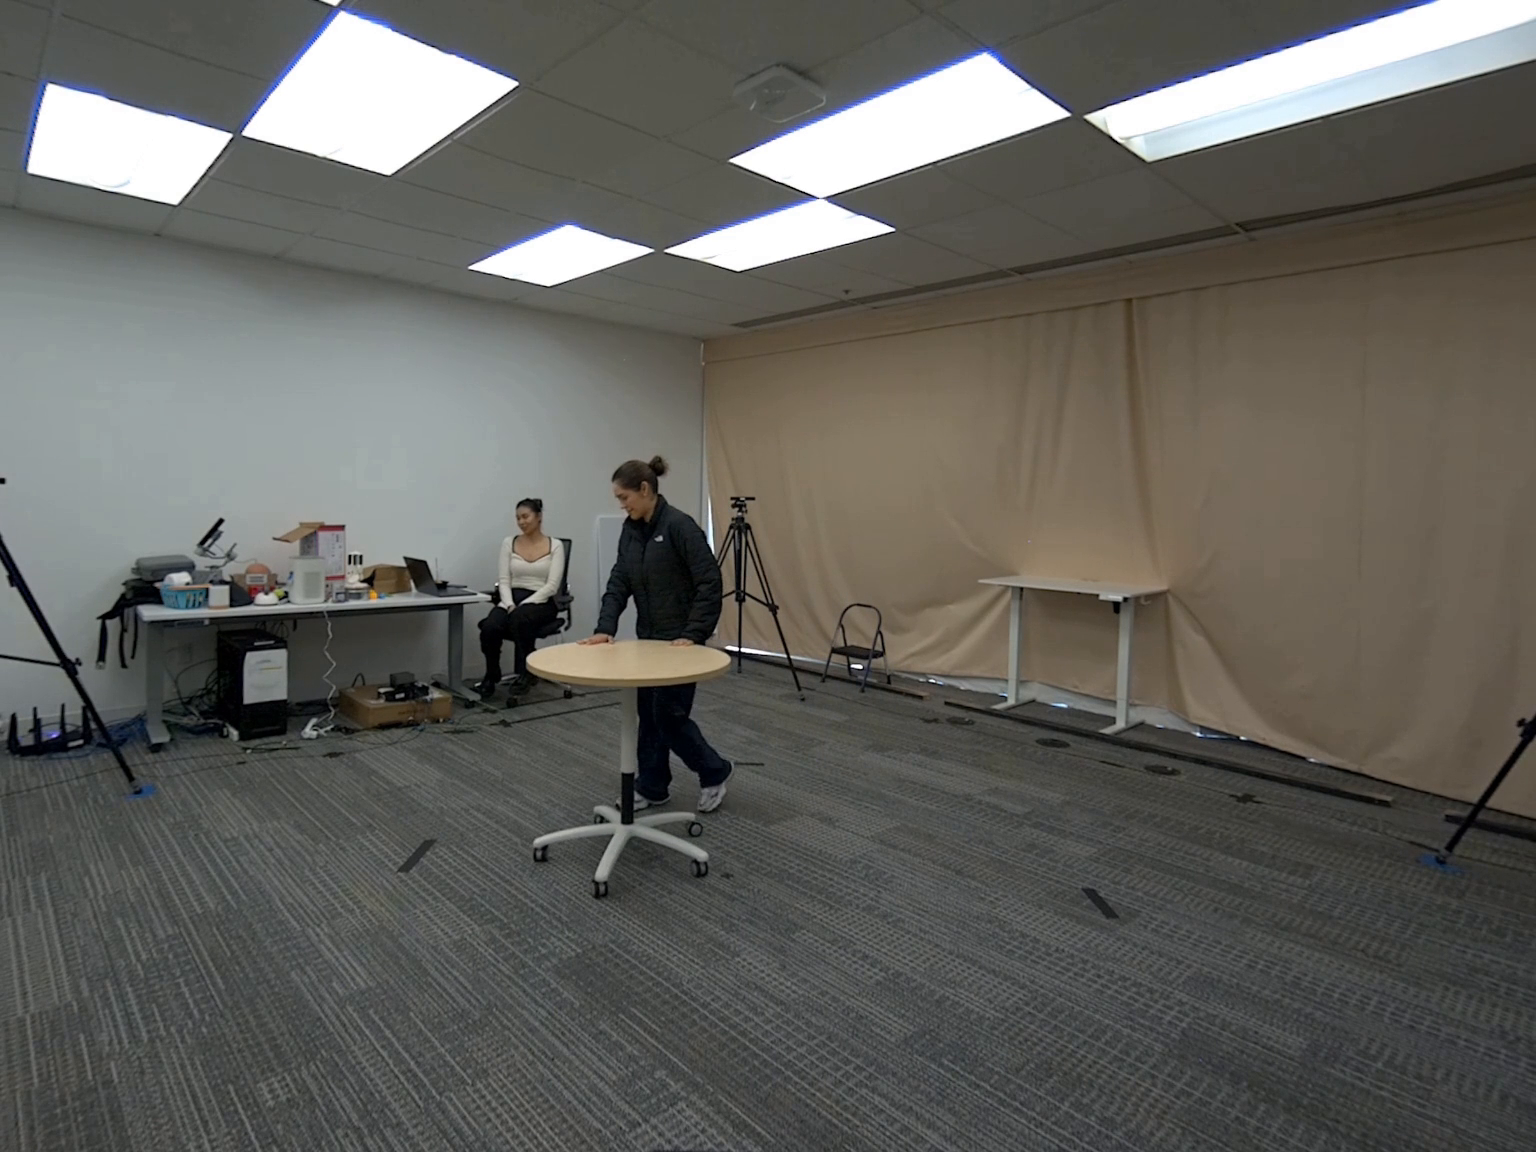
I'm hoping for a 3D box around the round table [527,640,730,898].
[{"bbox_3d":[-0.542,0.698,3.208,0.784,0.784,0.788,1,4,-1],"label":"round table"}]
